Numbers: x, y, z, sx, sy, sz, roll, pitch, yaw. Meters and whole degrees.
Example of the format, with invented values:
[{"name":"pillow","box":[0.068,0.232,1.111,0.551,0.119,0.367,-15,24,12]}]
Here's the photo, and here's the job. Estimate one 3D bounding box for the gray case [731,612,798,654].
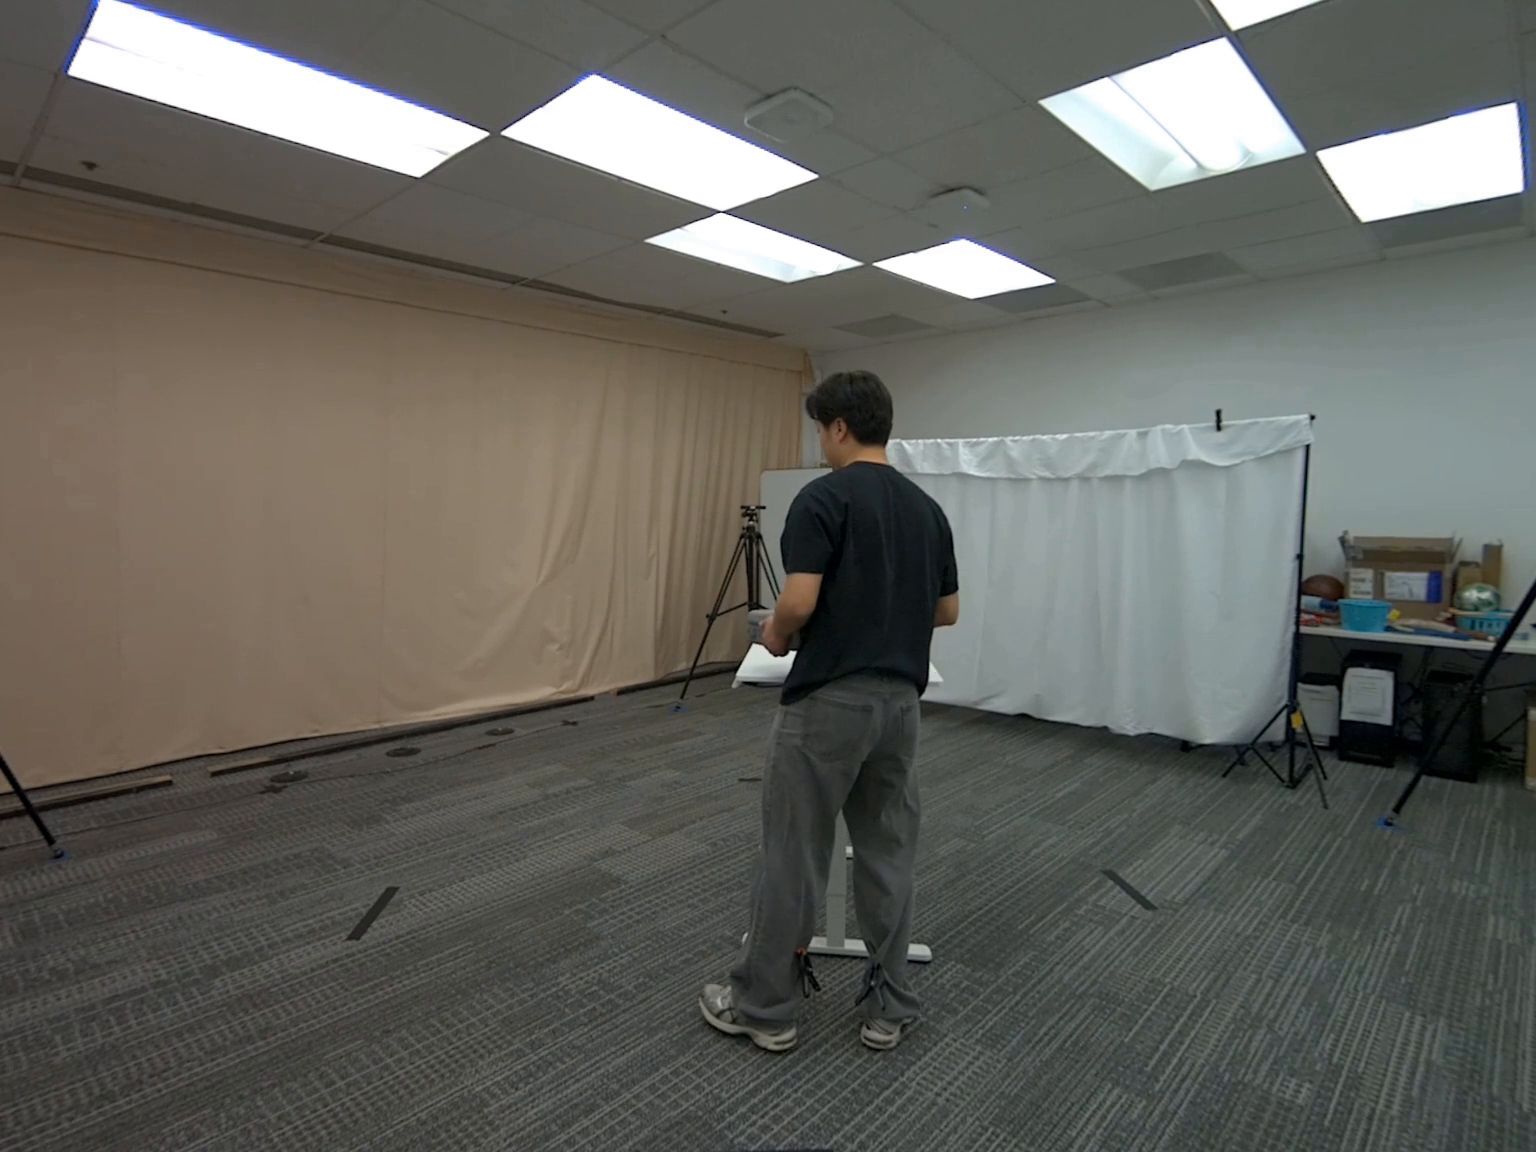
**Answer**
[{"name":"gray case","box":[0.051,0.153,2.472,0.266,0.103,0.283,-6,-2,9]}]
